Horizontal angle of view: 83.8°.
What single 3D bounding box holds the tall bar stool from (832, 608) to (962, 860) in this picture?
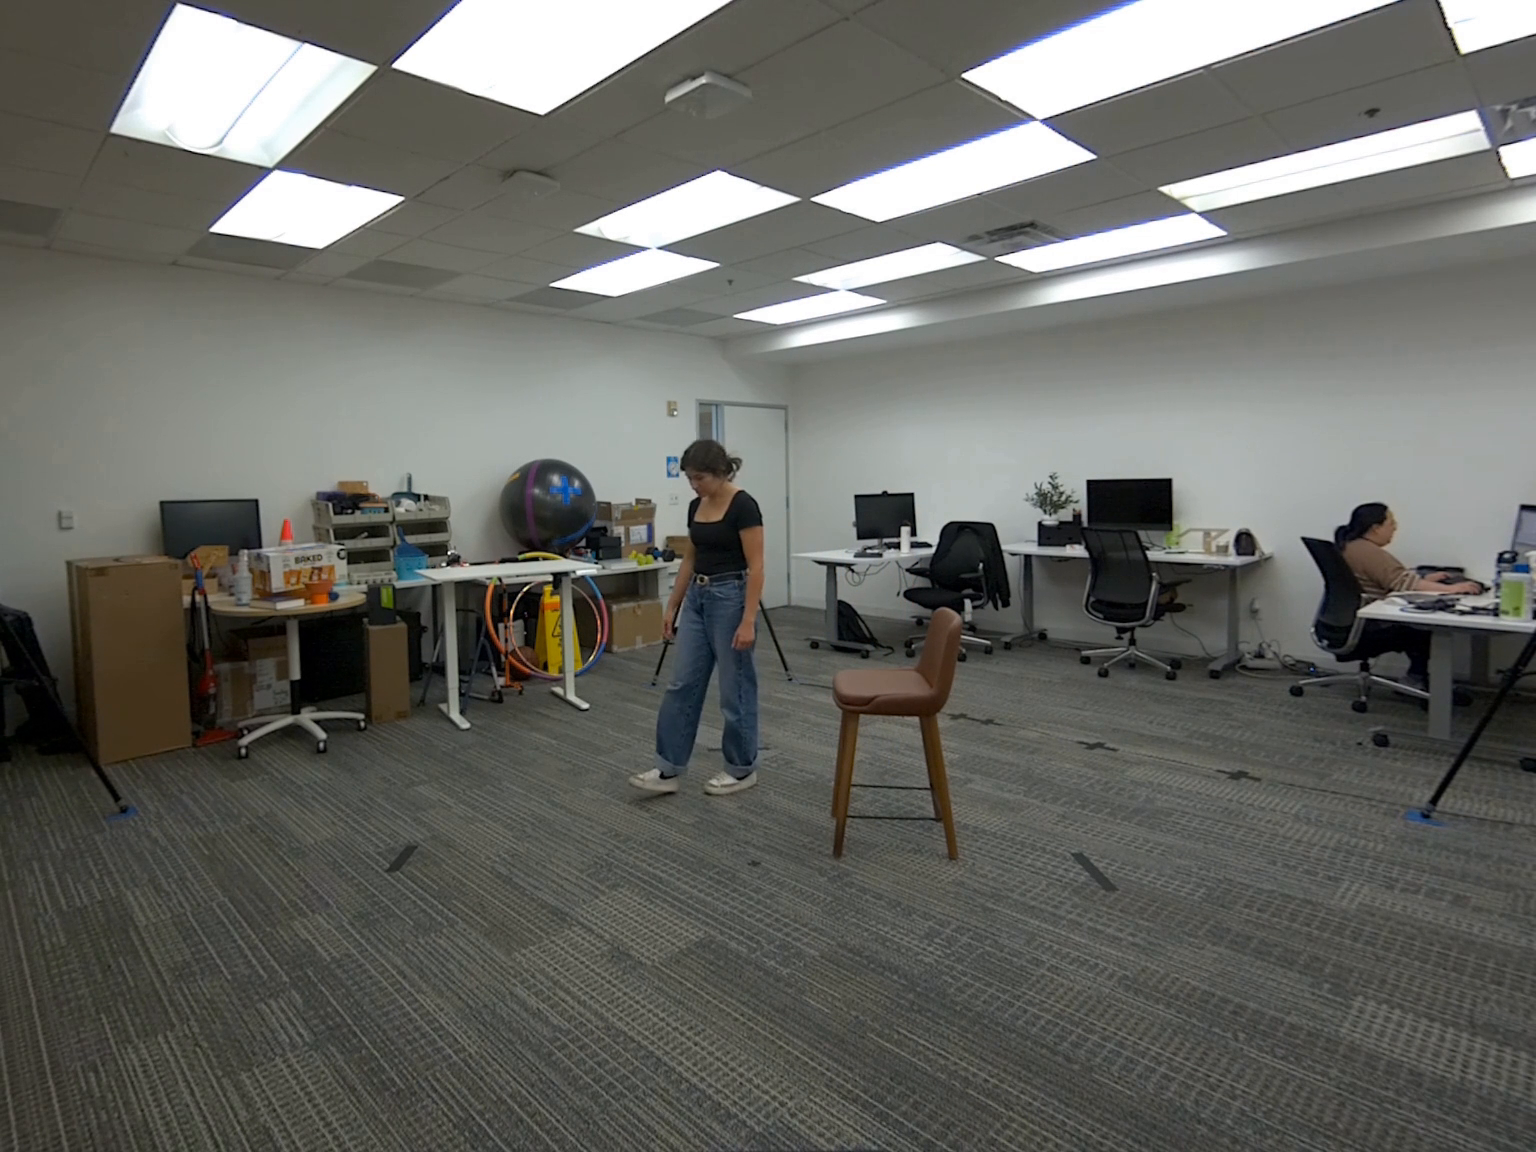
[{"bbox_3d":[0.479,0.579,3.290,0.470,0.887,0.456,1,4,5],"label":"tall bar stool"}]
